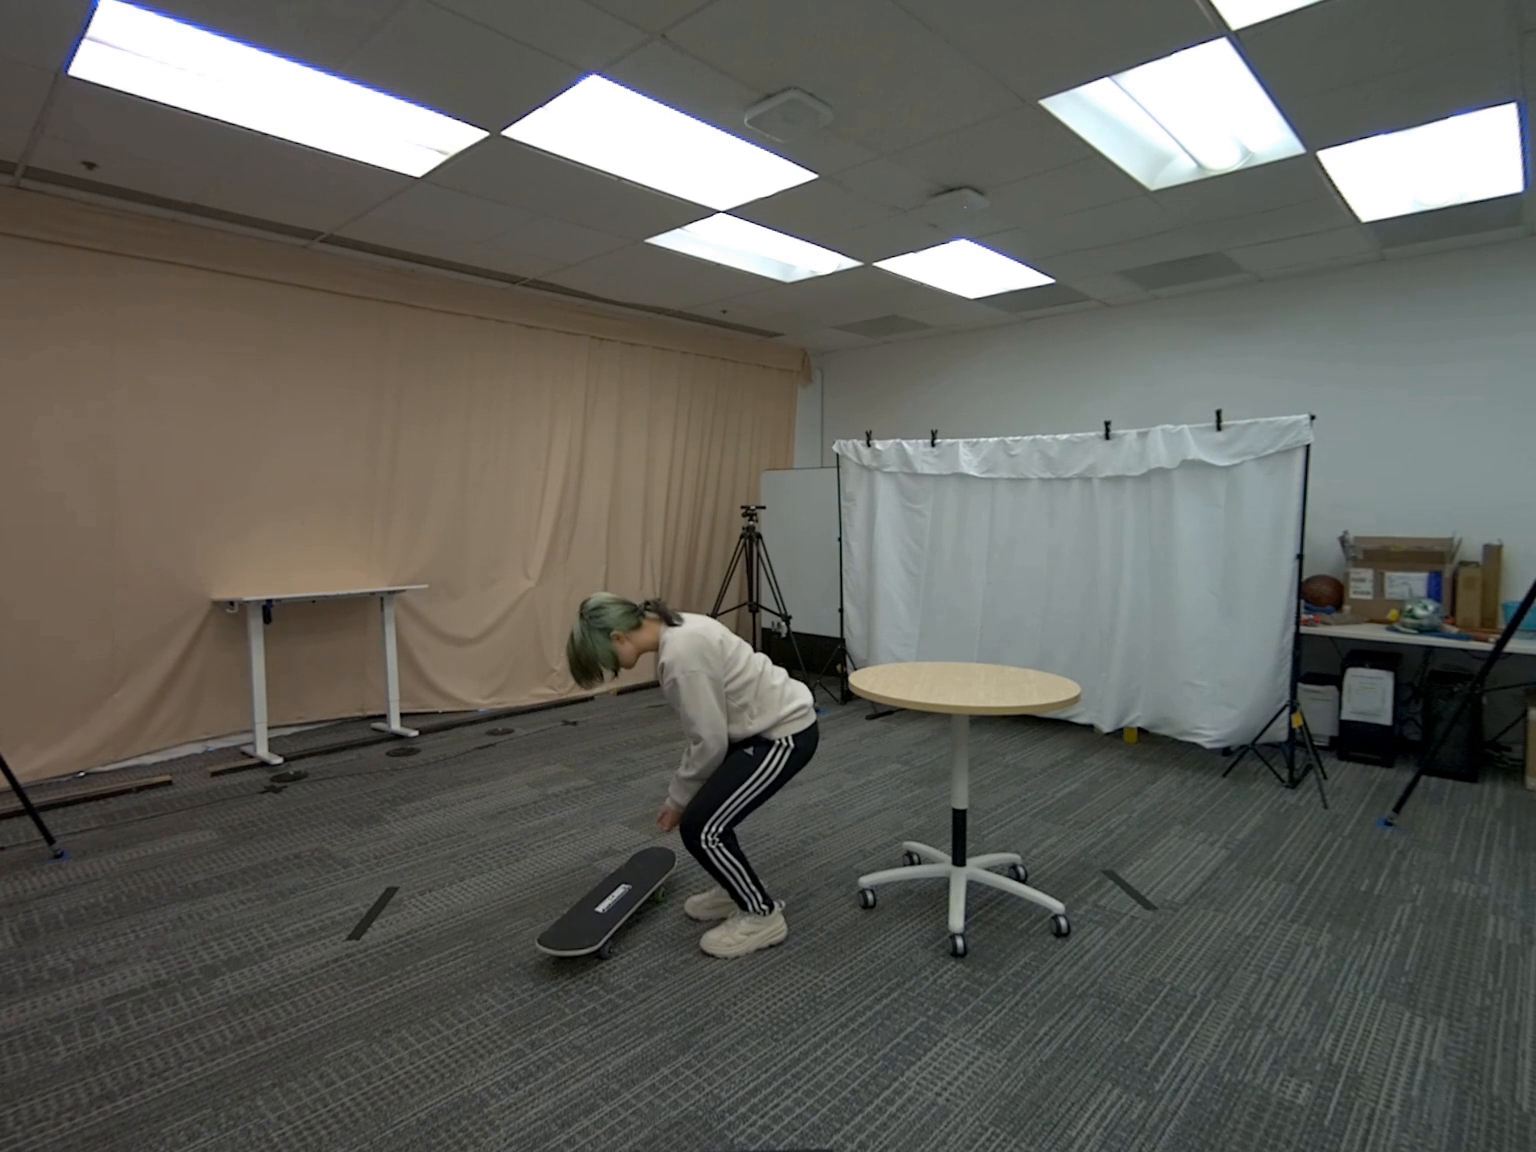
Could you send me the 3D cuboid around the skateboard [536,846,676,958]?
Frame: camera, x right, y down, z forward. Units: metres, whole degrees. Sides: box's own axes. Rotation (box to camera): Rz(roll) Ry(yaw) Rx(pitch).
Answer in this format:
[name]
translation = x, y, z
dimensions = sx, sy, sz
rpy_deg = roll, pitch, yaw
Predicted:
[skateboard]
translation = -0.513, 1.103, 2.804
dimensions = 0.197, 0.110, 0.771
rpy_deg = 1, 5, 18
